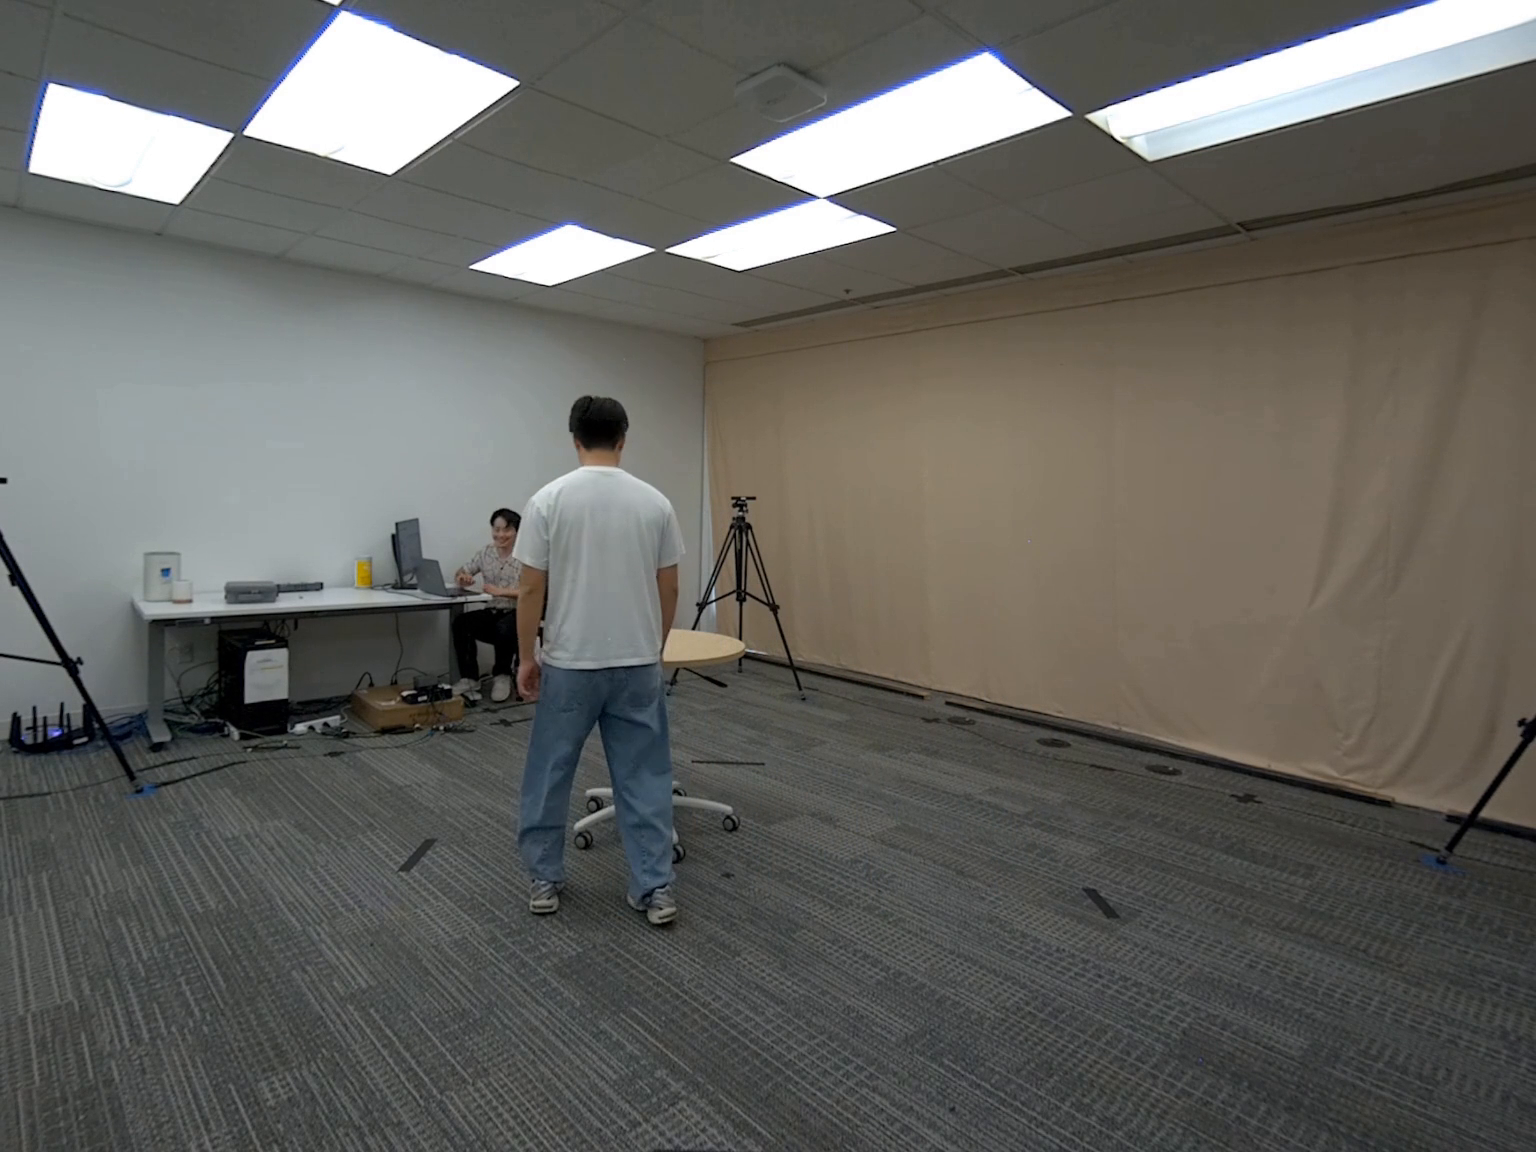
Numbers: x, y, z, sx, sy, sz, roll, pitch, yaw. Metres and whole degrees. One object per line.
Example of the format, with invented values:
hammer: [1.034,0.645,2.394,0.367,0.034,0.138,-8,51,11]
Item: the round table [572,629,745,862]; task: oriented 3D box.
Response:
round table: [-0.494,0.674,3.513,0.763,0.792,0.766,1,4,-1]
